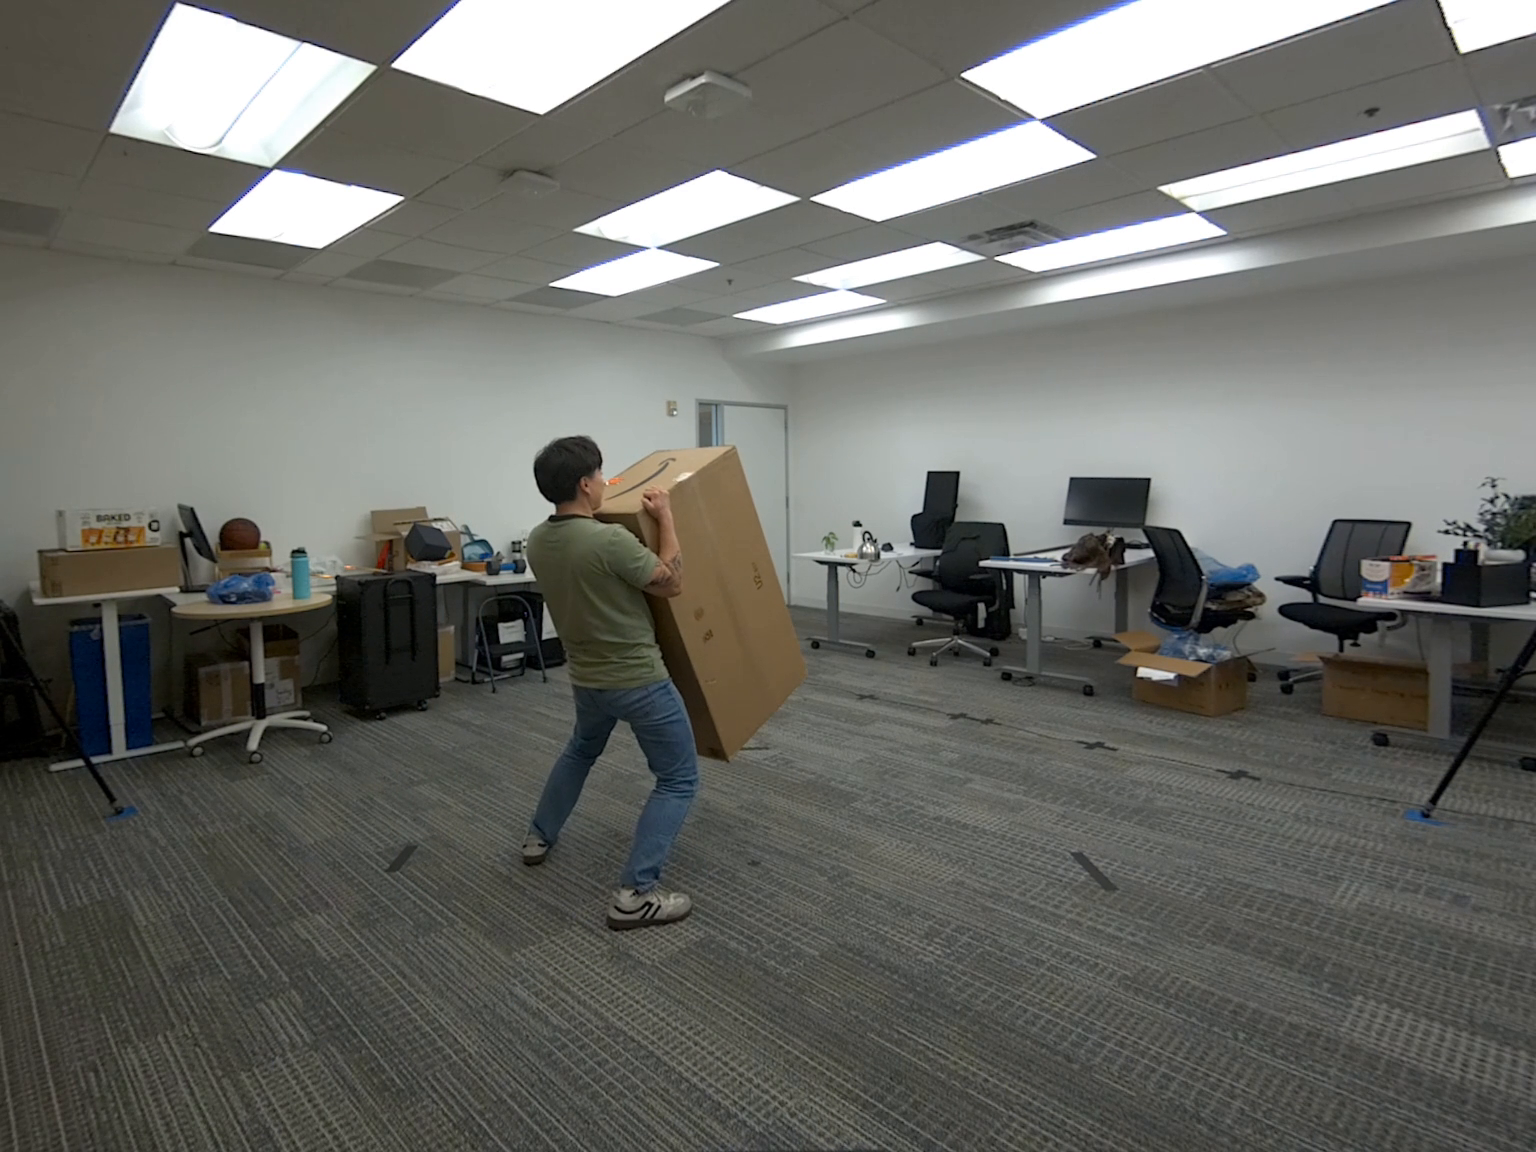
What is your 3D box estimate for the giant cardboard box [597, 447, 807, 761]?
[{"bbox_3d":[-0.299,0.089,3.286,0.439,1.002,0.574,1,28,39],"label":"giant cardboard box"}]
